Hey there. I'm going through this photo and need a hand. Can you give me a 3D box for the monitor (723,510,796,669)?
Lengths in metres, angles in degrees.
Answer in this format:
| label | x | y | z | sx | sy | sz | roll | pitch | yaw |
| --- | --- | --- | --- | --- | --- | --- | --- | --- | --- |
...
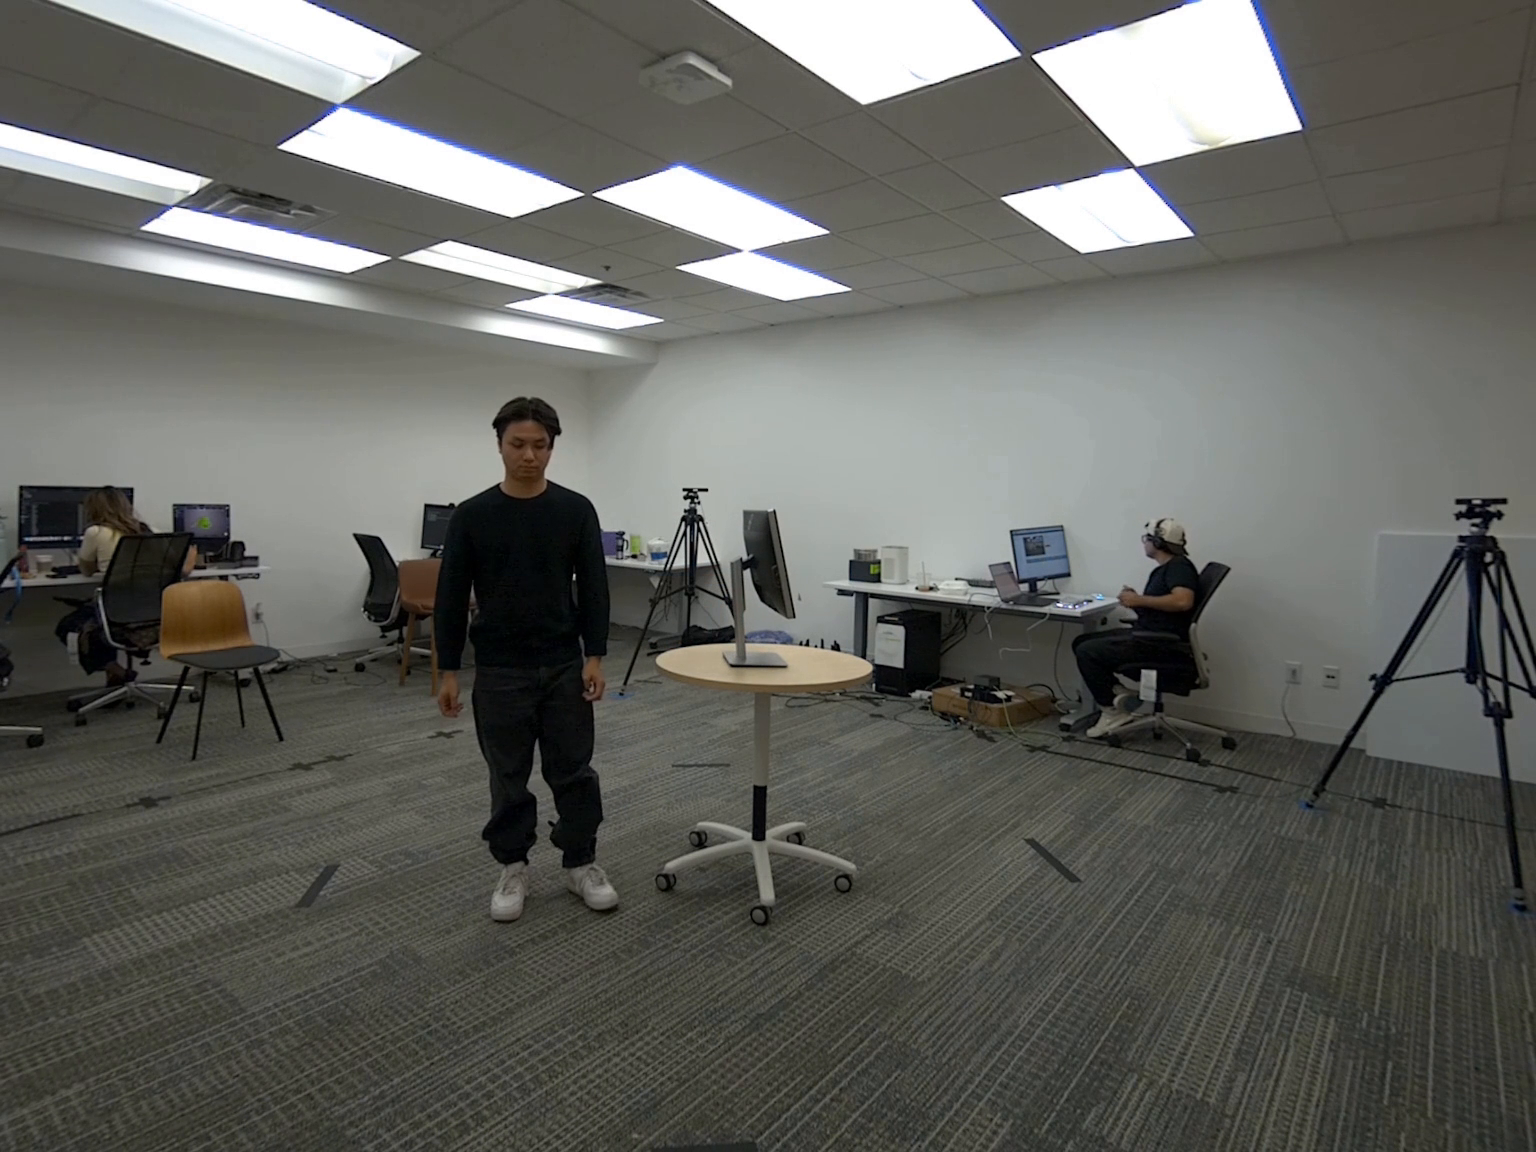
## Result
| label | x | y | z | sx | sy | sz | roll | pitch | yaw |
| --- | --- | --- | --- | --- | --- | --- | --- | --- | --- |
| monitor | -0.058 | 0.044 | 3.010 | 0.185 | 0.520 | 0.547 | 1 | 5 | -11 |
